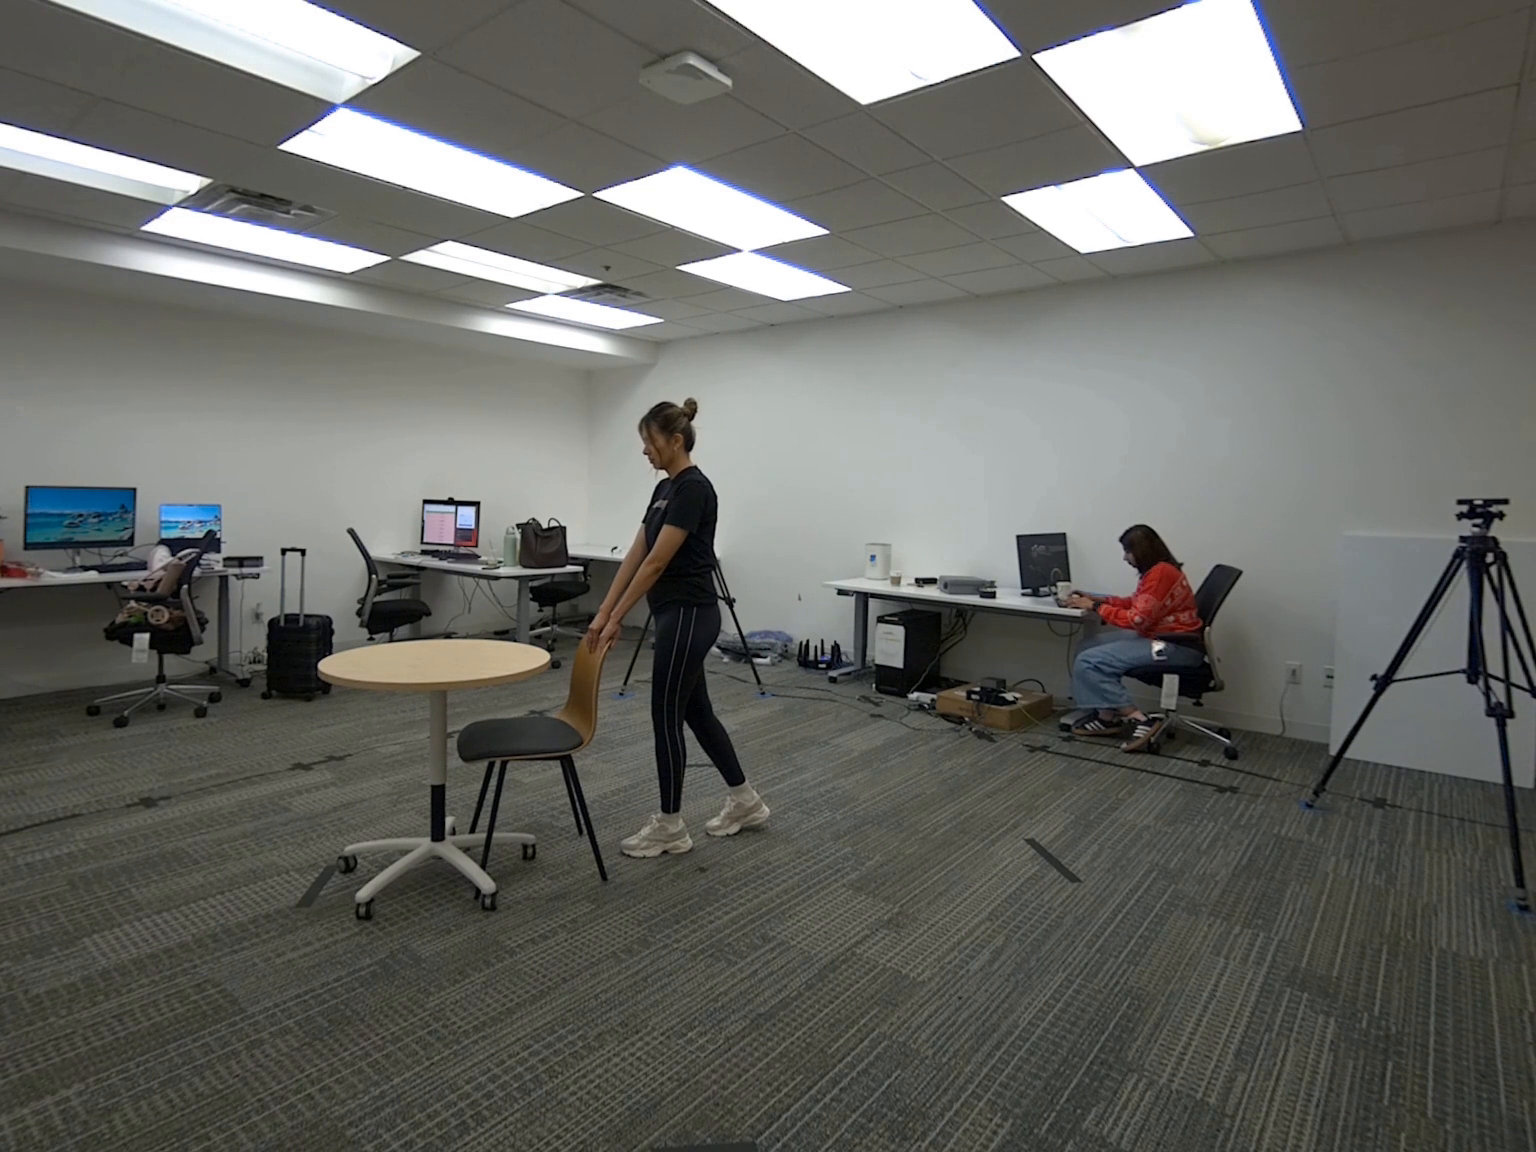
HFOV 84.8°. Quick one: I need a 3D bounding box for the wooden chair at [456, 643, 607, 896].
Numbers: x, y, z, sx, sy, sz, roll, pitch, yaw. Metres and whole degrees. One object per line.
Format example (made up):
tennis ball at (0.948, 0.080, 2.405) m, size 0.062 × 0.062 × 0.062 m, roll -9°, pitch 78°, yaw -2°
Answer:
wooden chair at (-0.871, 0.633, 3.097) m, size 0.511 × 0.876 × 0.490 m, roll 4°, pitch 2°, yaw -23°
